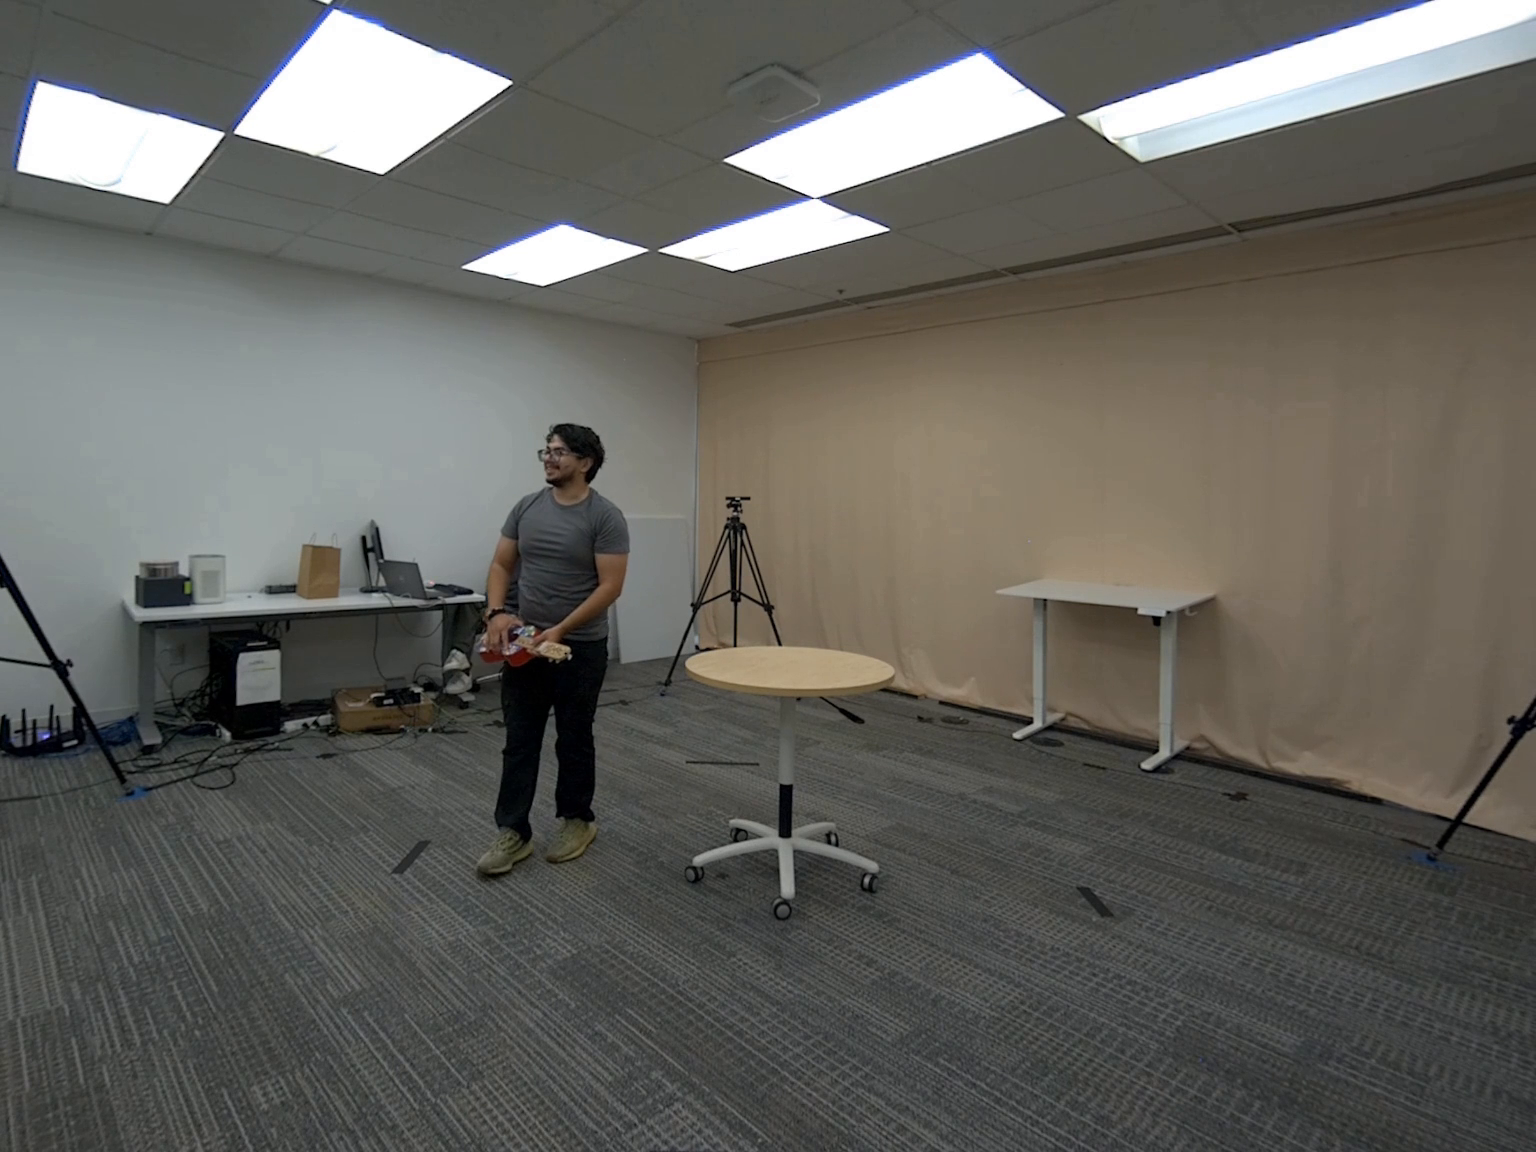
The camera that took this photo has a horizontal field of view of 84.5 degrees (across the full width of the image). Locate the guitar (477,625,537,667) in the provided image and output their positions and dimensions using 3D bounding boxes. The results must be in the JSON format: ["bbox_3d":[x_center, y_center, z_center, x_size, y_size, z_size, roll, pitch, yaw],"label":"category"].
[{"bbox_3d":[-0.879,0.270,2.962,0.193,0.069,0.512,-44,36,-22],"label":"guitar"}]
